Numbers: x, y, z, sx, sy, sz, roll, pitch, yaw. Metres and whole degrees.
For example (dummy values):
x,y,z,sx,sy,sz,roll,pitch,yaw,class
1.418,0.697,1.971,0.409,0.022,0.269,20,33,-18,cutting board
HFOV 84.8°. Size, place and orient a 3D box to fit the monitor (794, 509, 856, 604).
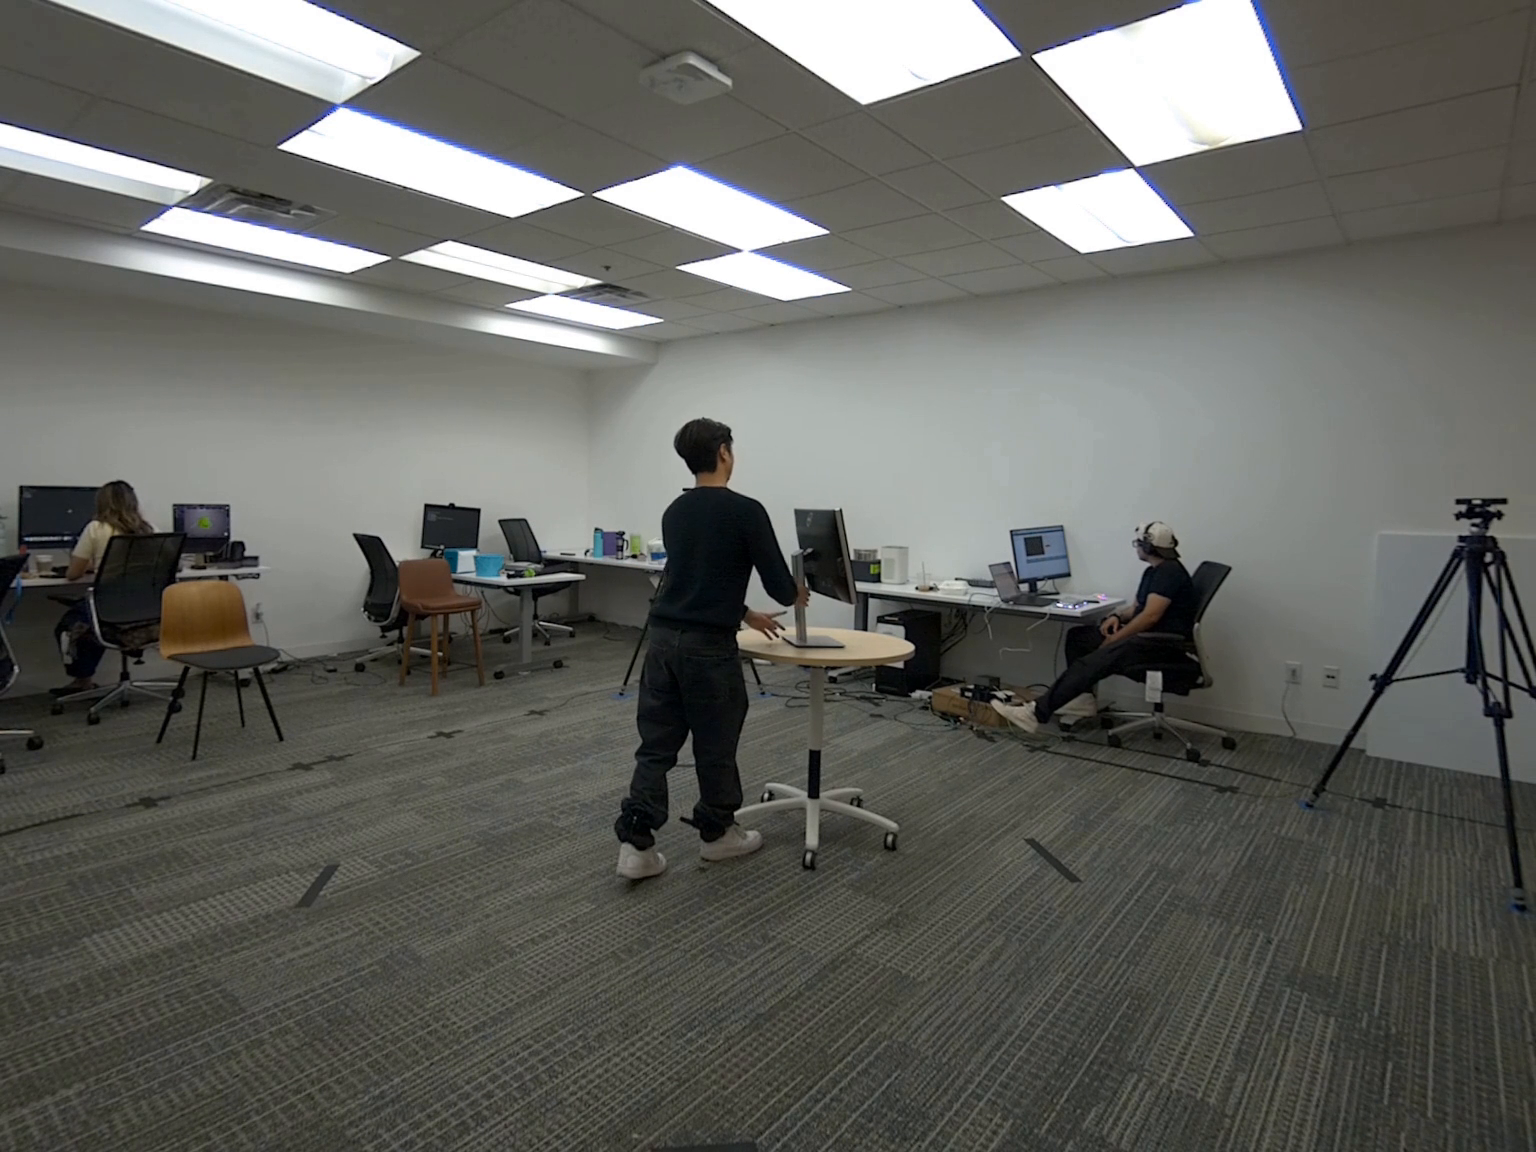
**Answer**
x,y,z,sx,sy,sz,roll,pitch,yaw,class
0.181,-0.001,3.400,0.172,0.515,0.539,5,2,-16,monitor
